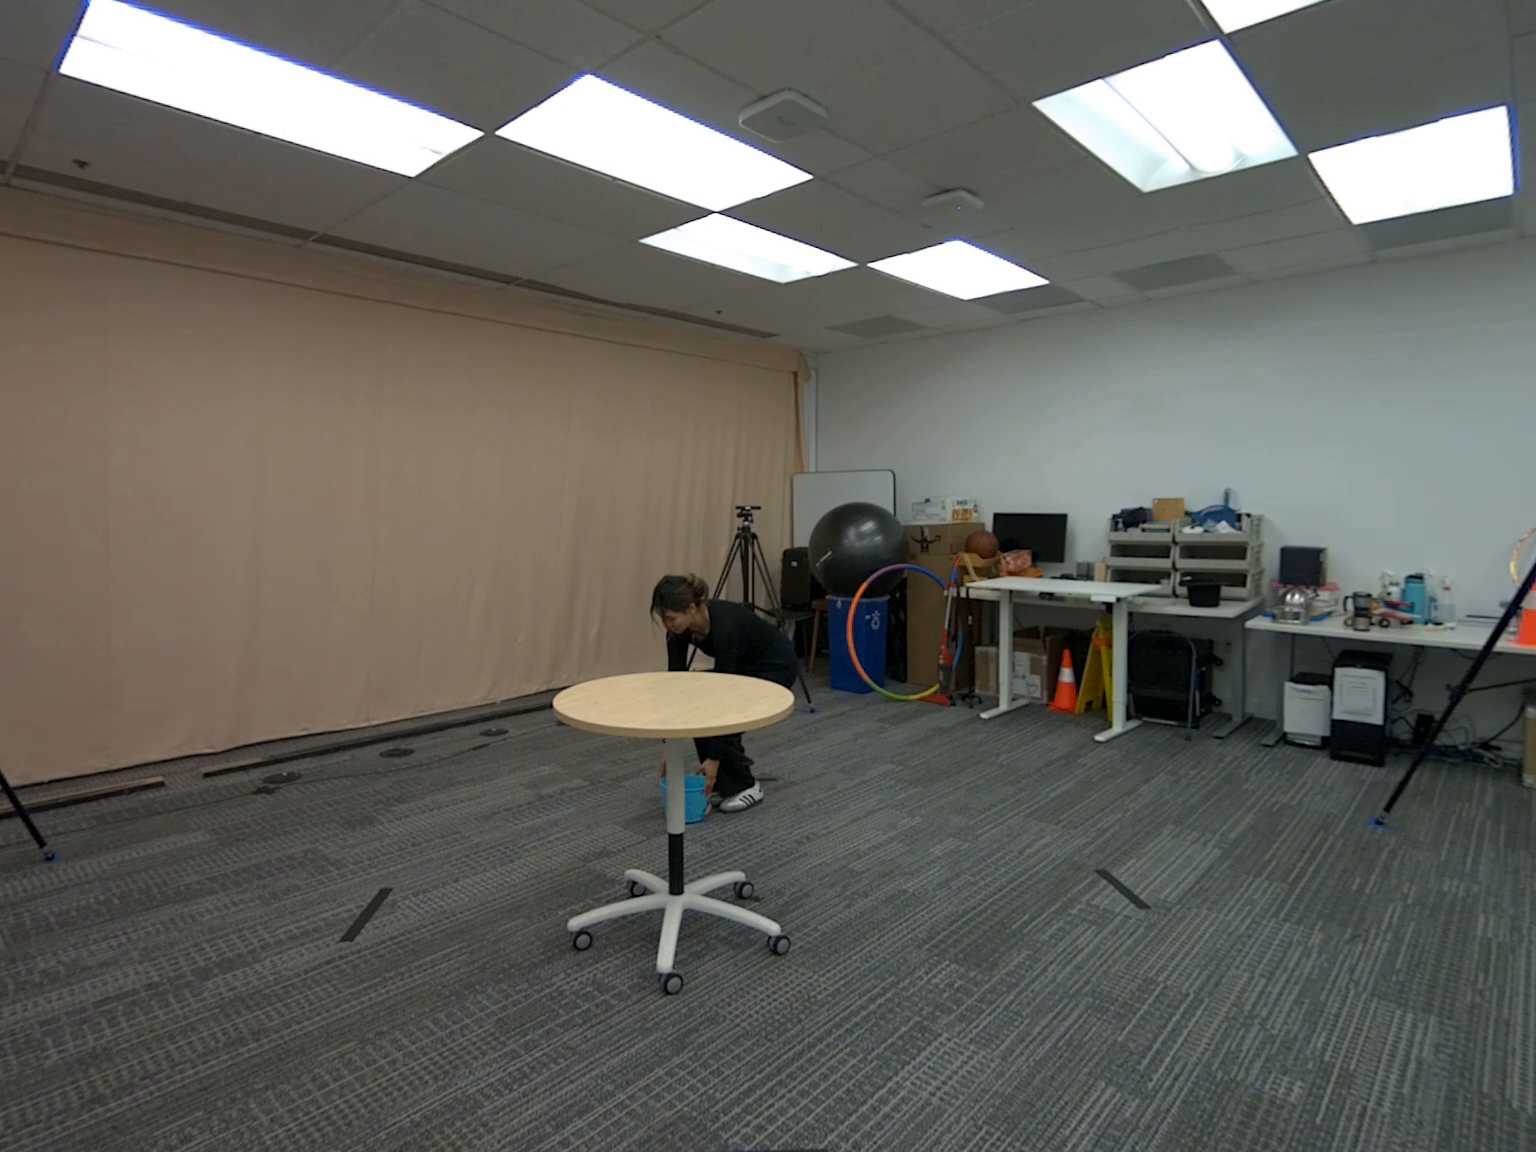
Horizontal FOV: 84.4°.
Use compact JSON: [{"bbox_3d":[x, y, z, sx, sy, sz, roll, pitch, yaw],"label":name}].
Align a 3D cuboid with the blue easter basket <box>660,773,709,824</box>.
[{"bbox_3d":[-0.362,0.986,3.772,0.243,0.155,0.244,0,4,-2],"label":"blue easter basket"}]
